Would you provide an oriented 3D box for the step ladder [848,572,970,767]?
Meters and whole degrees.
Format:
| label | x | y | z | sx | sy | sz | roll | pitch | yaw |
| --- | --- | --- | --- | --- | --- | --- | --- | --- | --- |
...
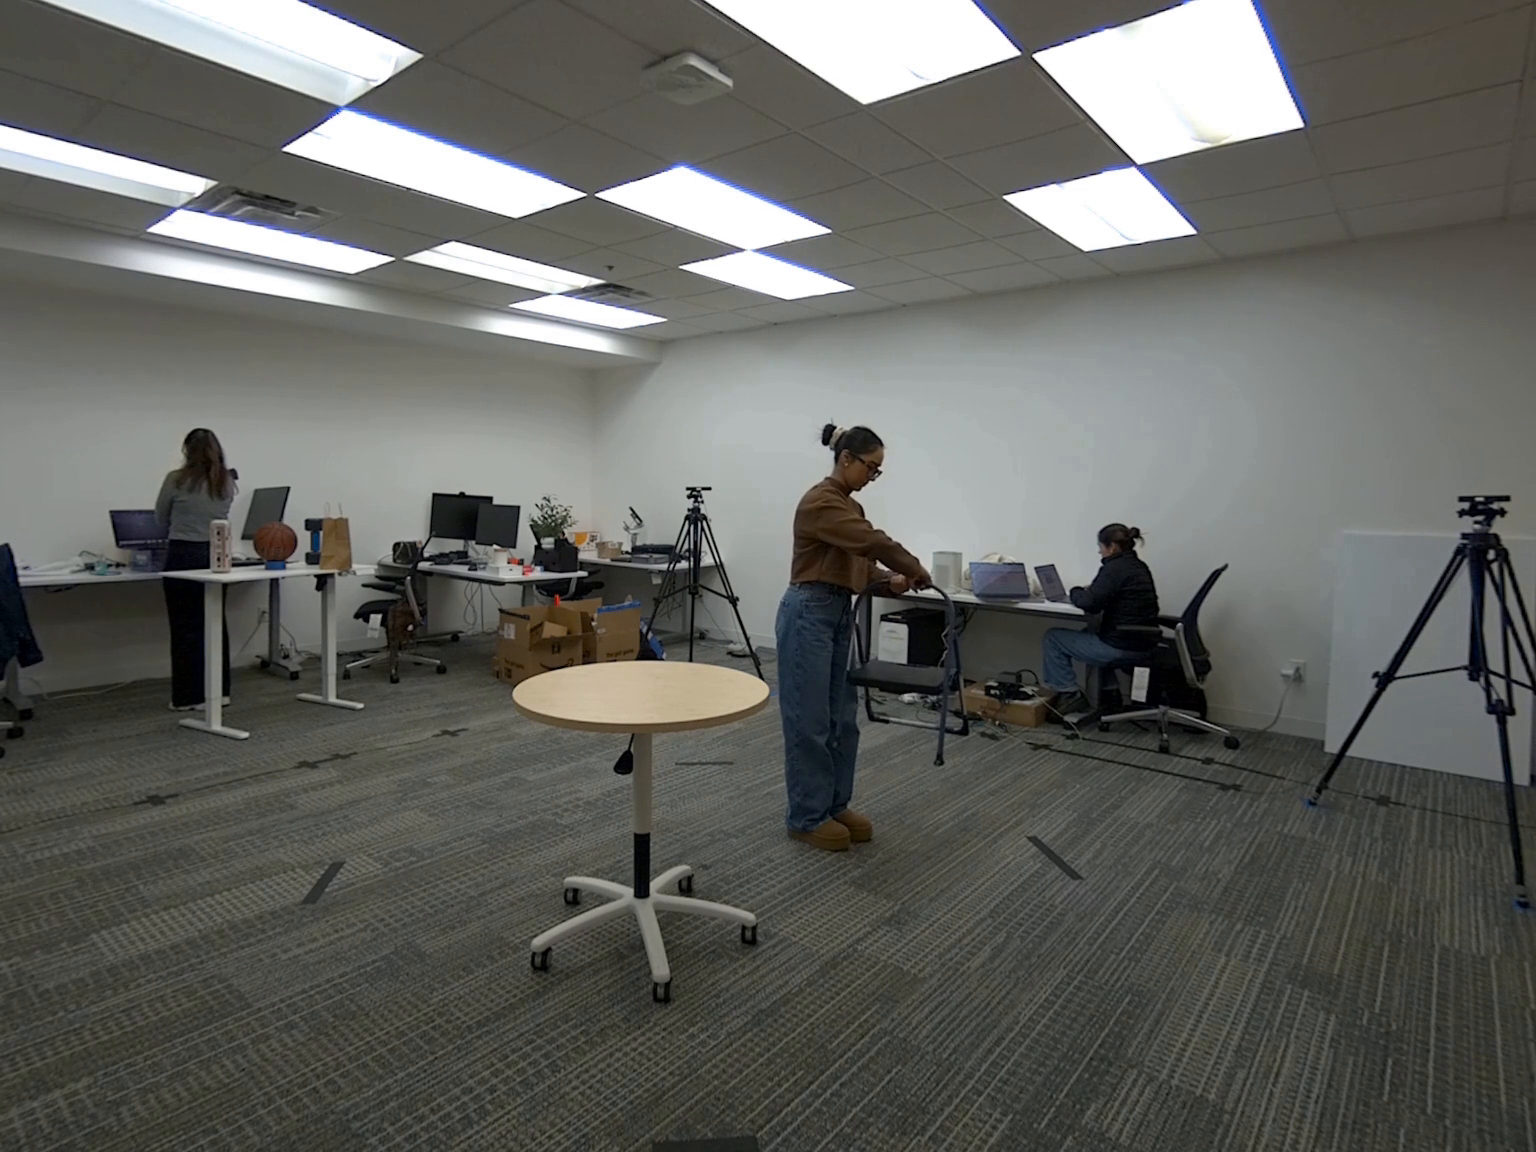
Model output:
| label | x | y | z | sx | sy | sz | roll | pitch | yaw |
| --- | --- | --- | --- | --- | --- | --- | --- | --- | --- |
| step ladder | 0.499 | 0.336 | 3.197 | 0.443 | 0.601 | 0.342 | 3 | 10 | 31 |
